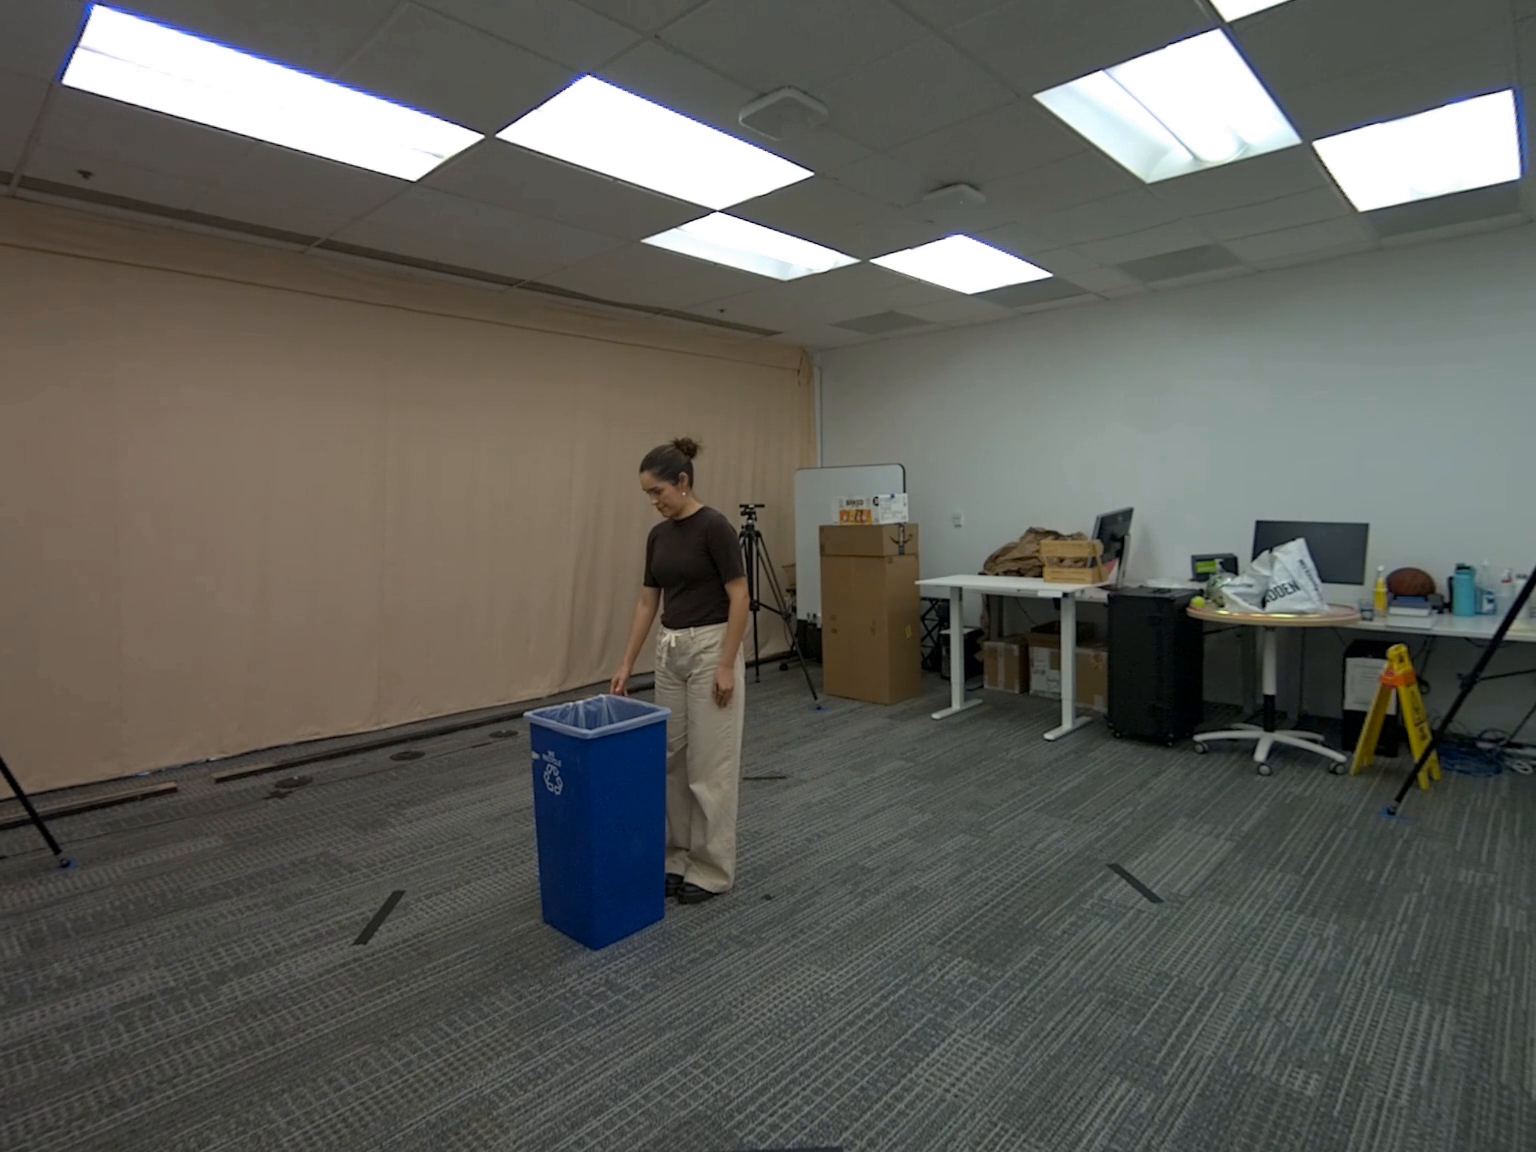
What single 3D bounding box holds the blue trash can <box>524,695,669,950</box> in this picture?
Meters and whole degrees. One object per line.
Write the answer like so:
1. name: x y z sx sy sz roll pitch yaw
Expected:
1. blue trash can: -0.567 0.808 2.823 0.390 0.712 0.363 2 5 42
